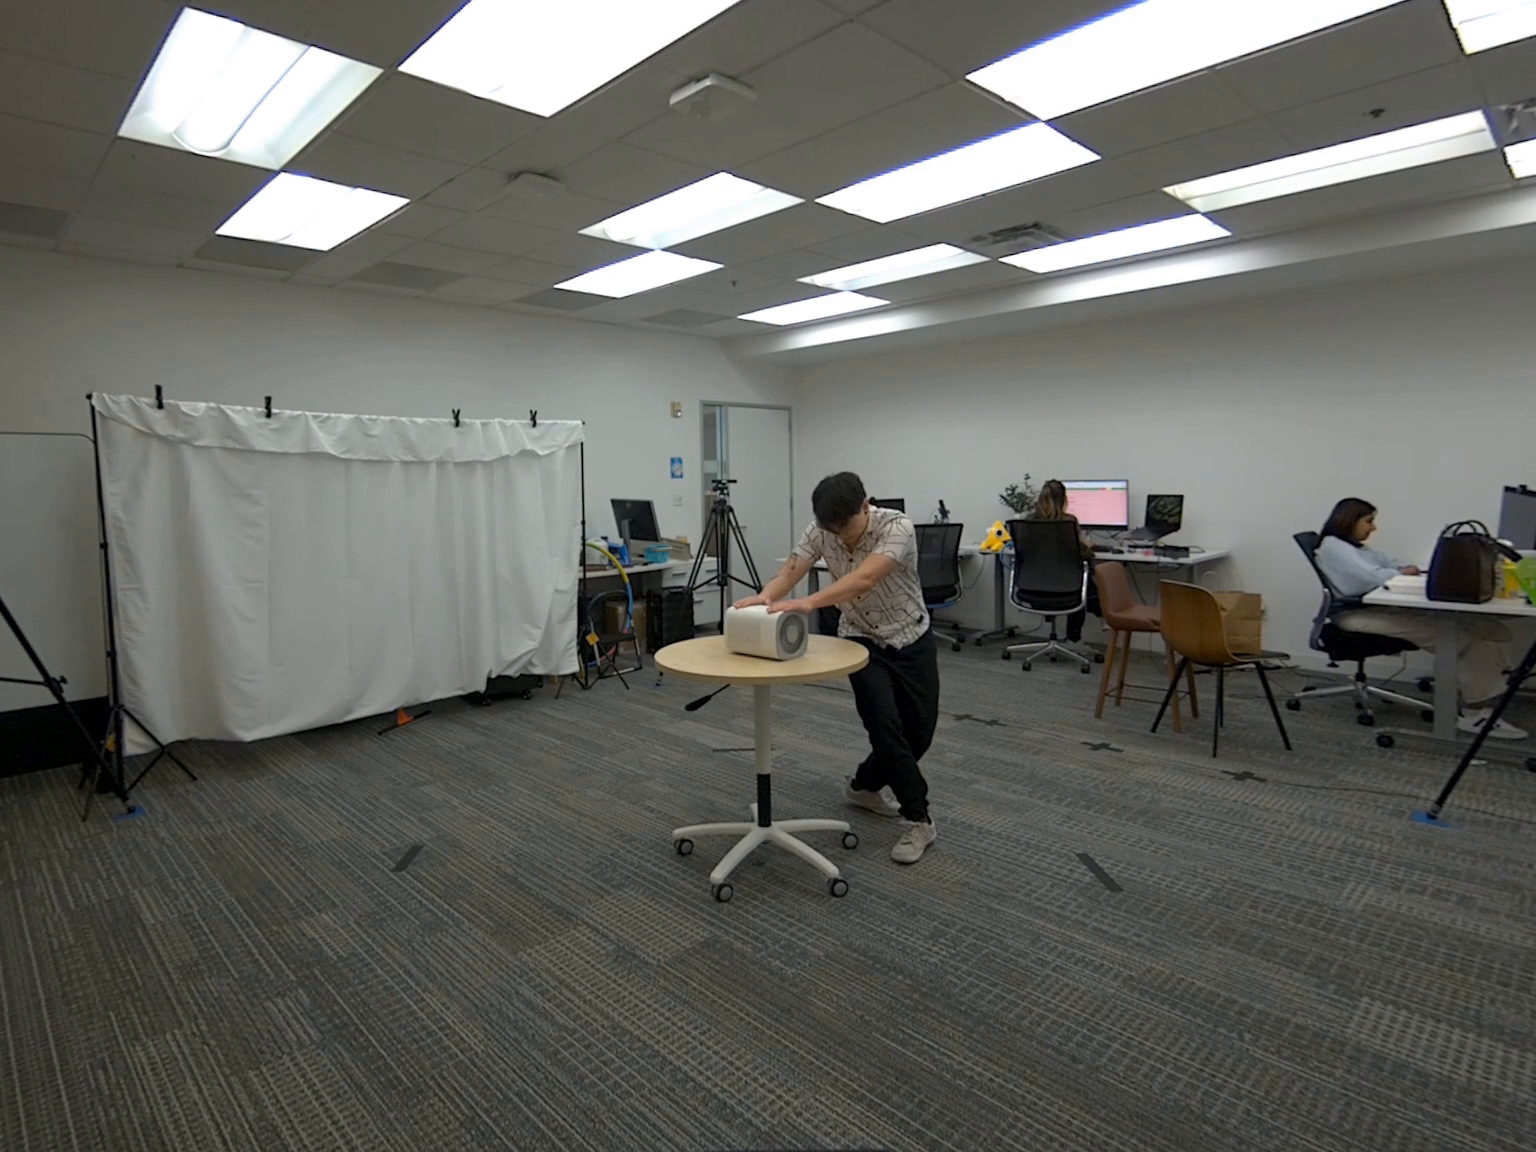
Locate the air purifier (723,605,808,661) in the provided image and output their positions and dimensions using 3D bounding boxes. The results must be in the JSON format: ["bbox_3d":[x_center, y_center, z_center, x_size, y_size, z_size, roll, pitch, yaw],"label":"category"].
[{"bbox_3d":[-0.012,0.190,3.031,0.273,0.171,0.166,3,5,41],"label":"air purifier"}]
